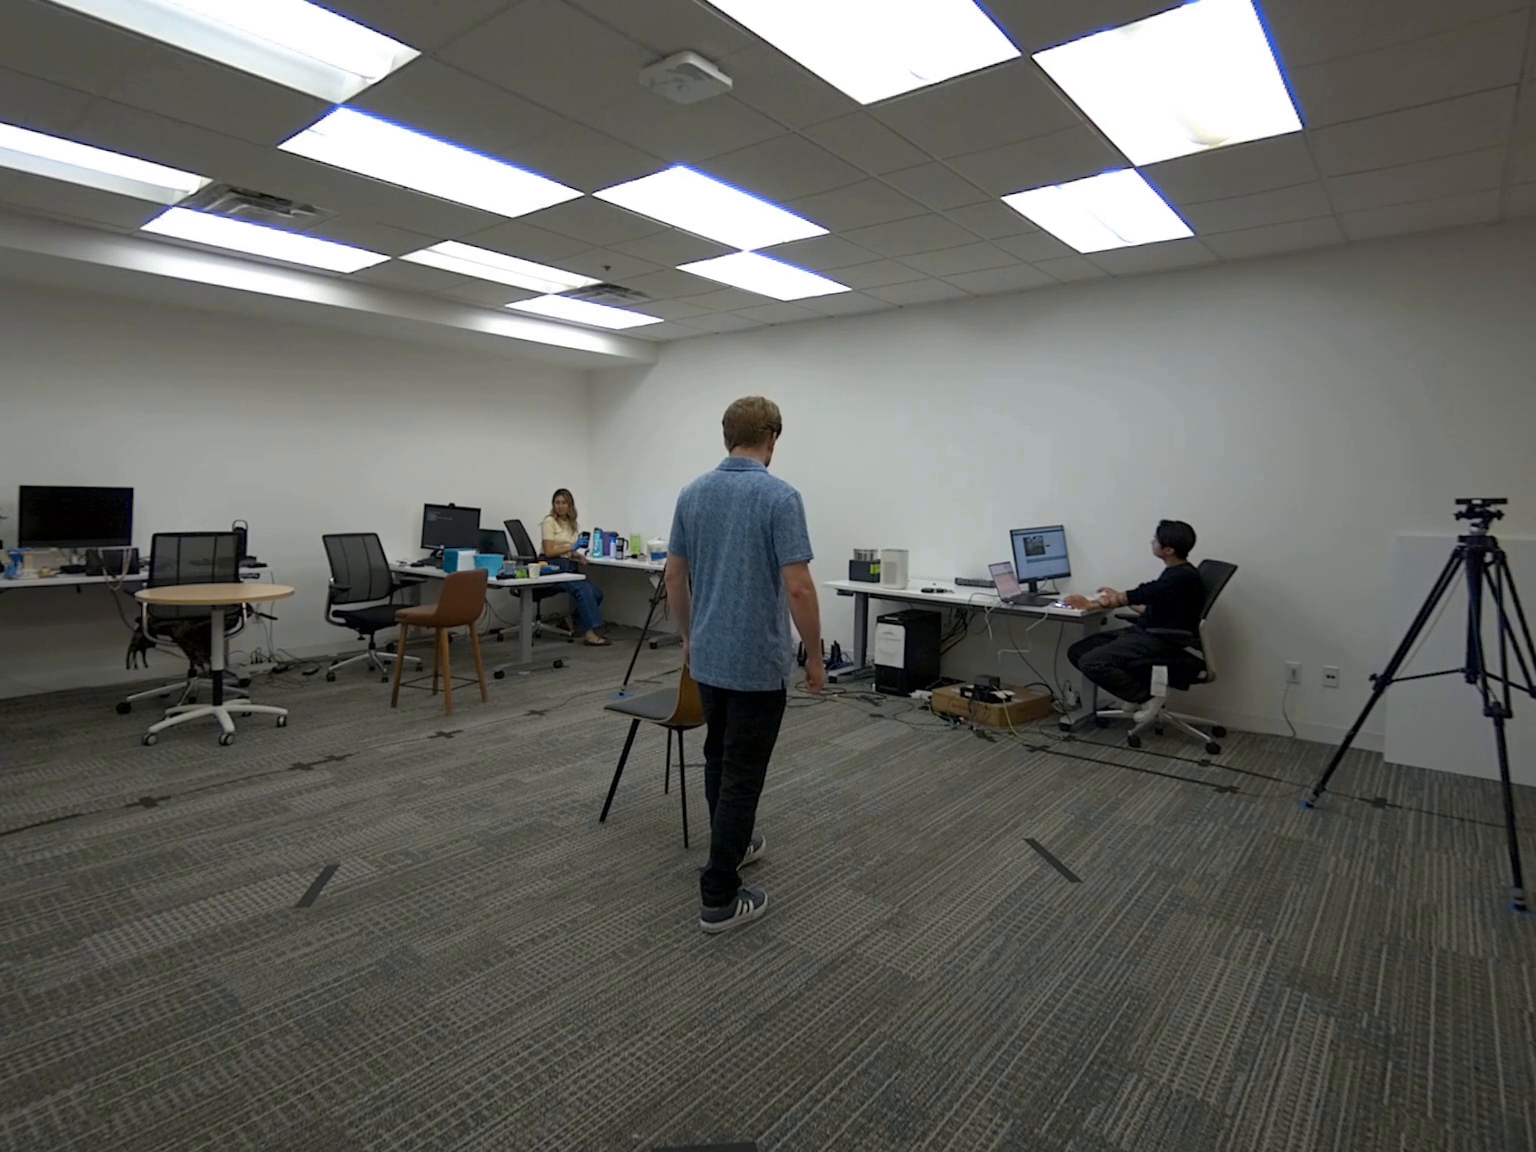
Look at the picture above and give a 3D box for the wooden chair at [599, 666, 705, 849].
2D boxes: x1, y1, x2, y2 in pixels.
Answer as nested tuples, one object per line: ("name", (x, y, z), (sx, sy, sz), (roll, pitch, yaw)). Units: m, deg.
("wooden chair", (-0.403, 0.595, 3.567), (0.540, 0.873, 0.465), (9, 7, 32))
